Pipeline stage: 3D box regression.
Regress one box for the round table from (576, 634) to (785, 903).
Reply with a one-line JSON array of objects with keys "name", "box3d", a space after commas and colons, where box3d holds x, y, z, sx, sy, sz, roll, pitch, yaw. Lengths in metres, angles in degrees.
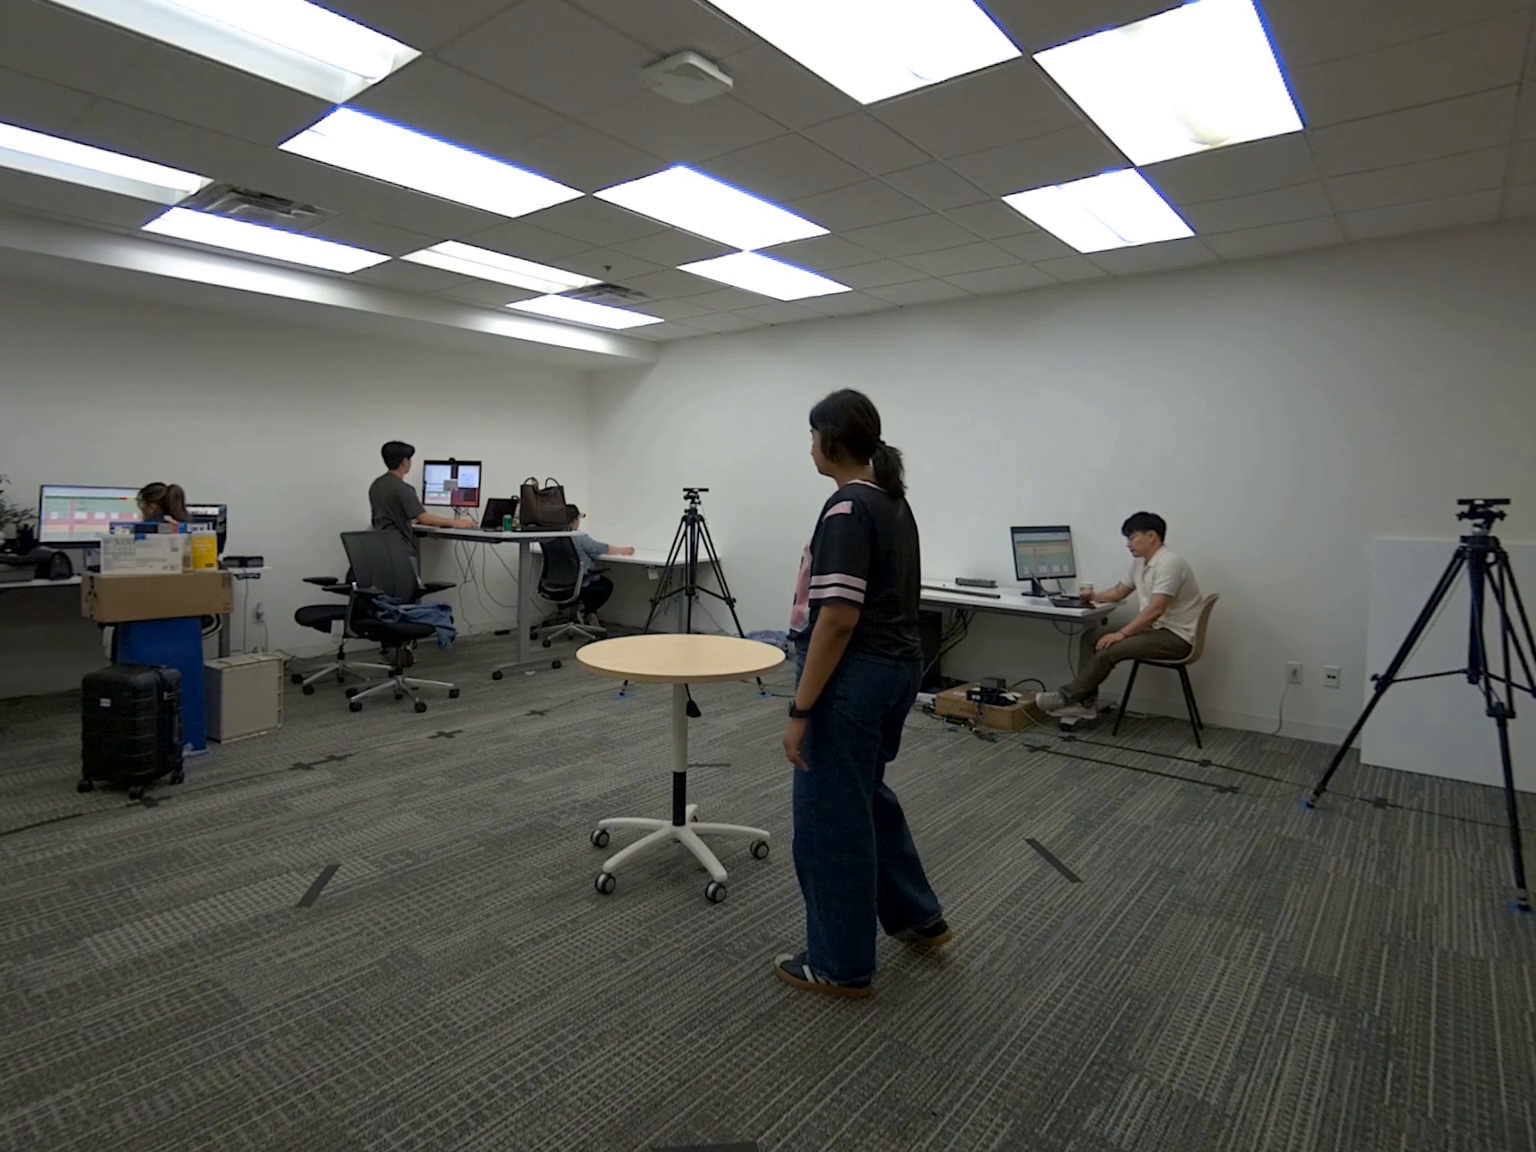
[{"name": "round table", "box3d": [-0.338, 0.674, 3.152, 0.763, 0.792, 0.767, 1, 4, -2]}]
